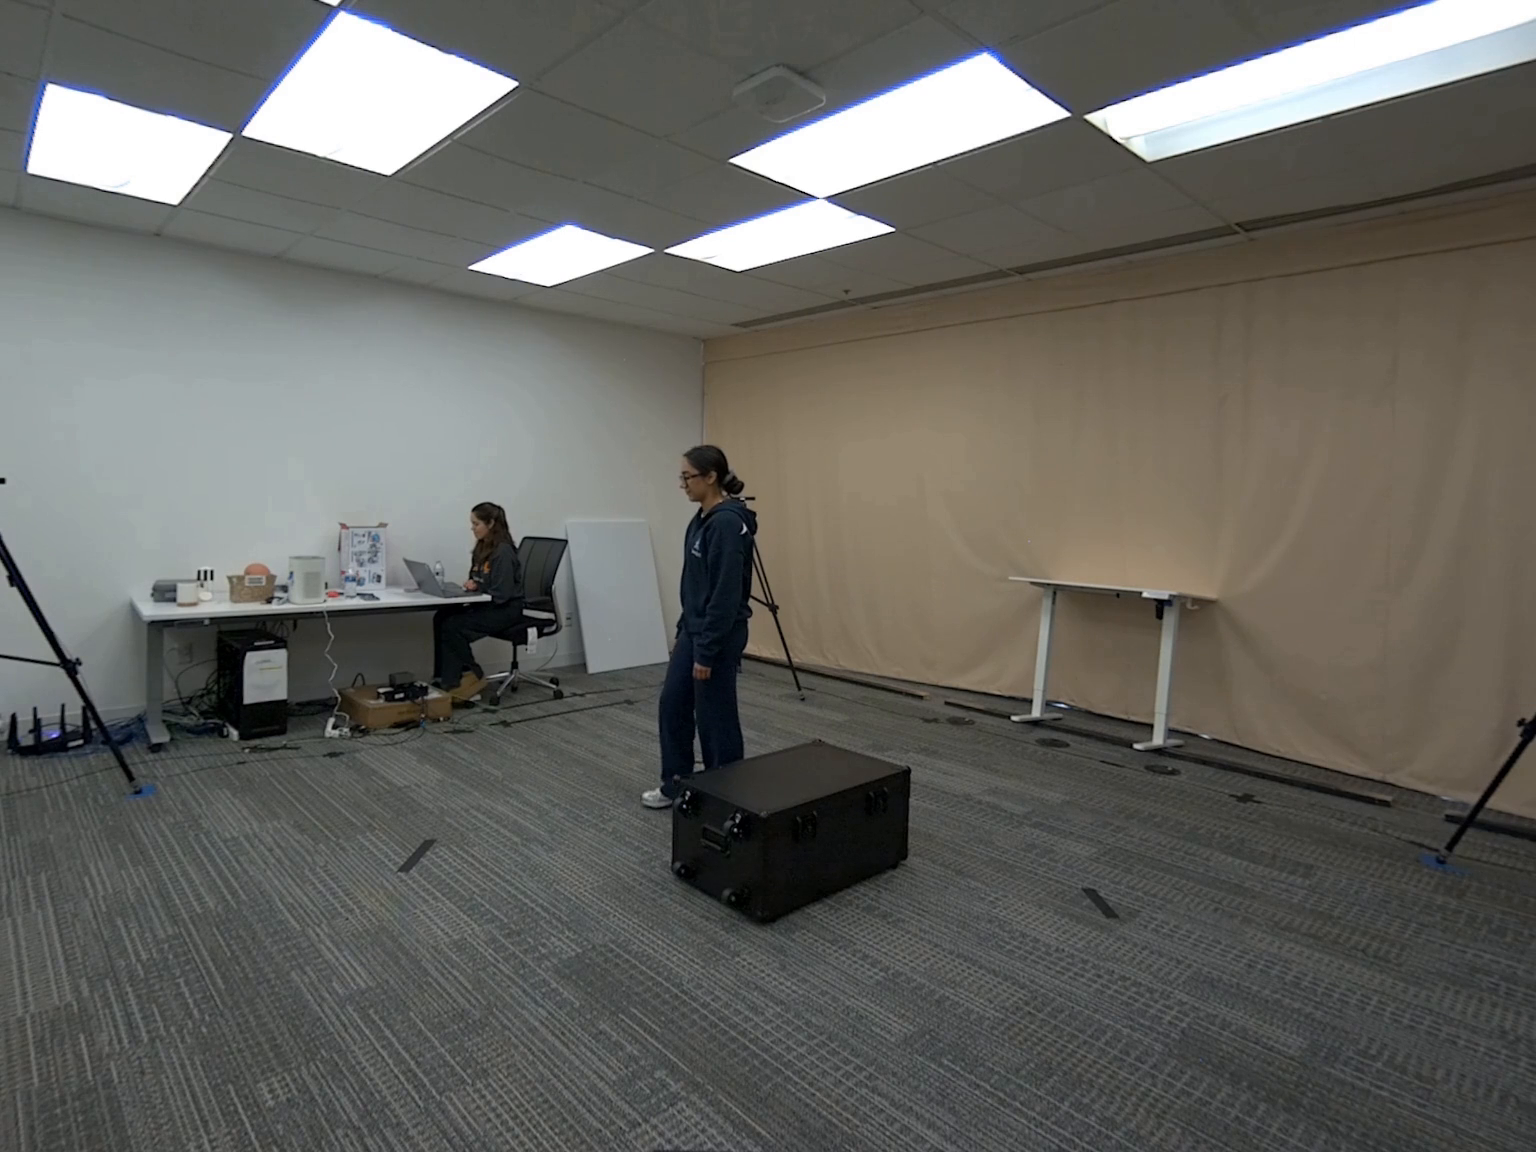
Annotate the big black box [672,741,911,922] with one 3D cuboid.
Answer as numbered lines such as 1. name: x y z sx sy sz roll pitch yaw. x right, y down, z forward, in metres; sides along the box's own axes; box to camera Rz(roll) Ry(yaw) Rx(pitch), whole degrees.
1. big black box: 0.071 0.920 3.125 0.841 0.395 0.534 -2 5 -44
